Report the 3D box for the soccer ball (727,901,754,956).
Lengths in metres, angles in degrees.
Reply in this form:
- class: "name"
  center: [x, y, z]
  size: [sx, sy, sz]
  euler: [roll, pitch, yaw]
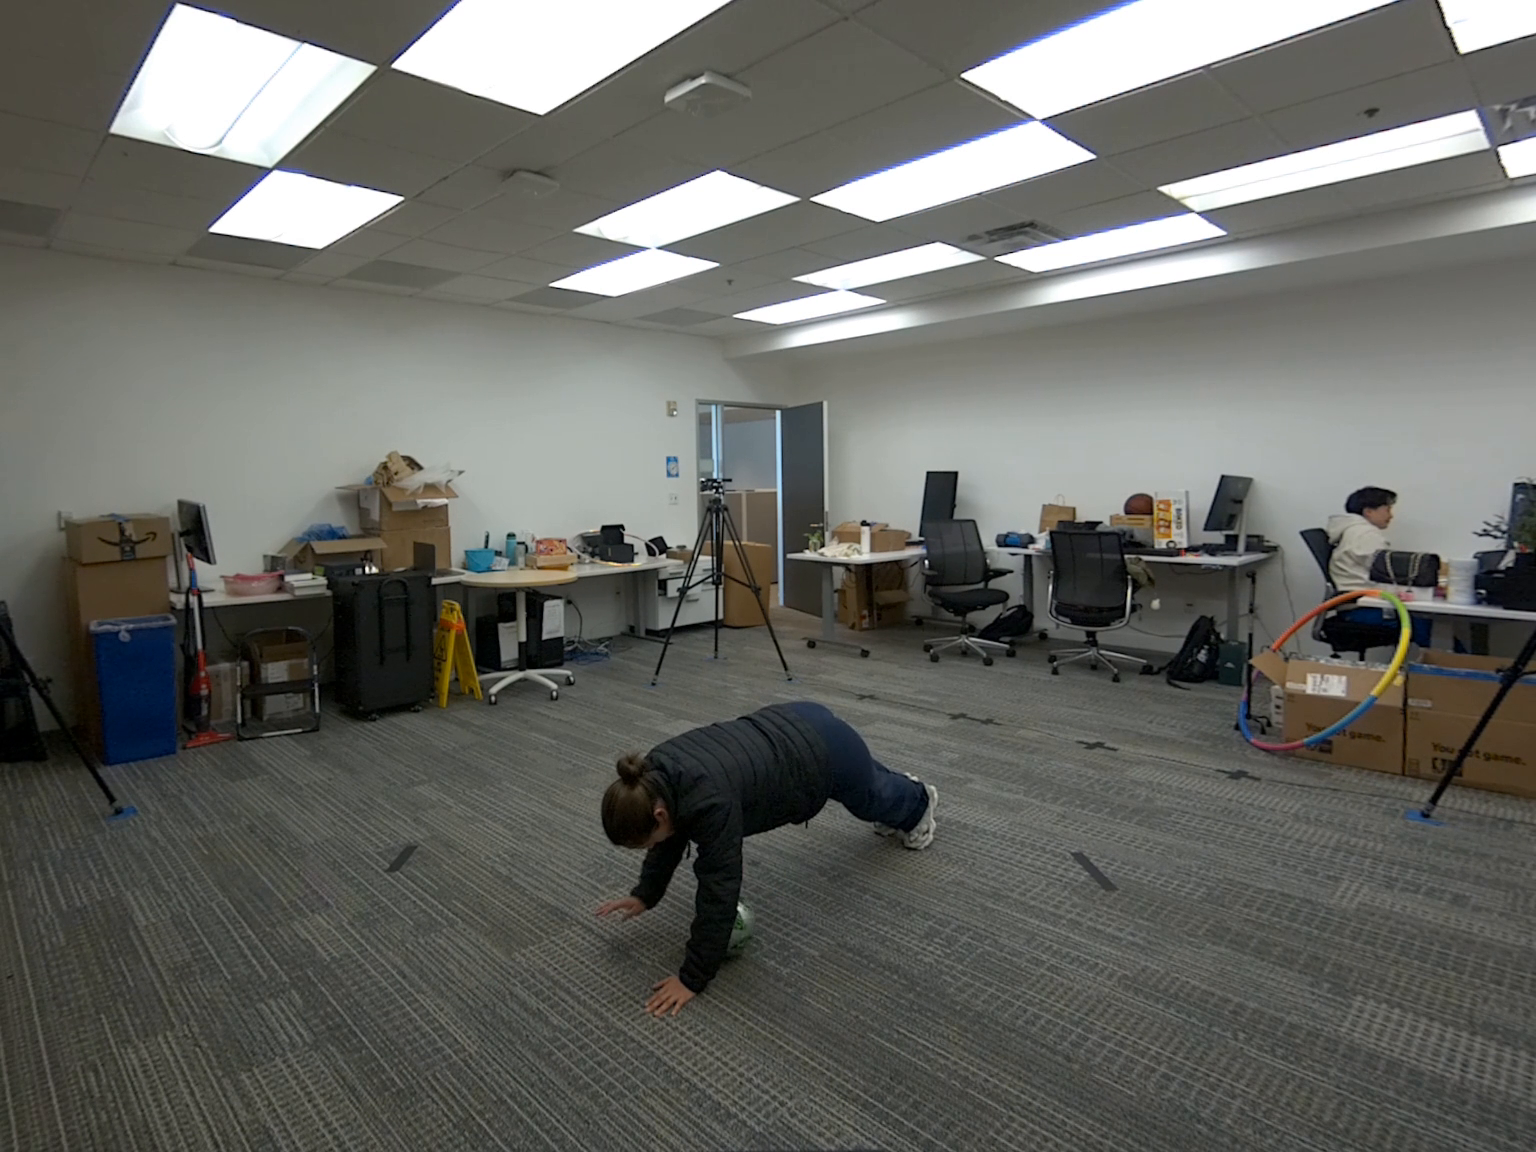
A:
- class: "soccer ball"
  center: [-0.121, 1.027, 2.513]
  size: [0.187, 0.187, 0.188]
  euler: [-1, 5, -2]
